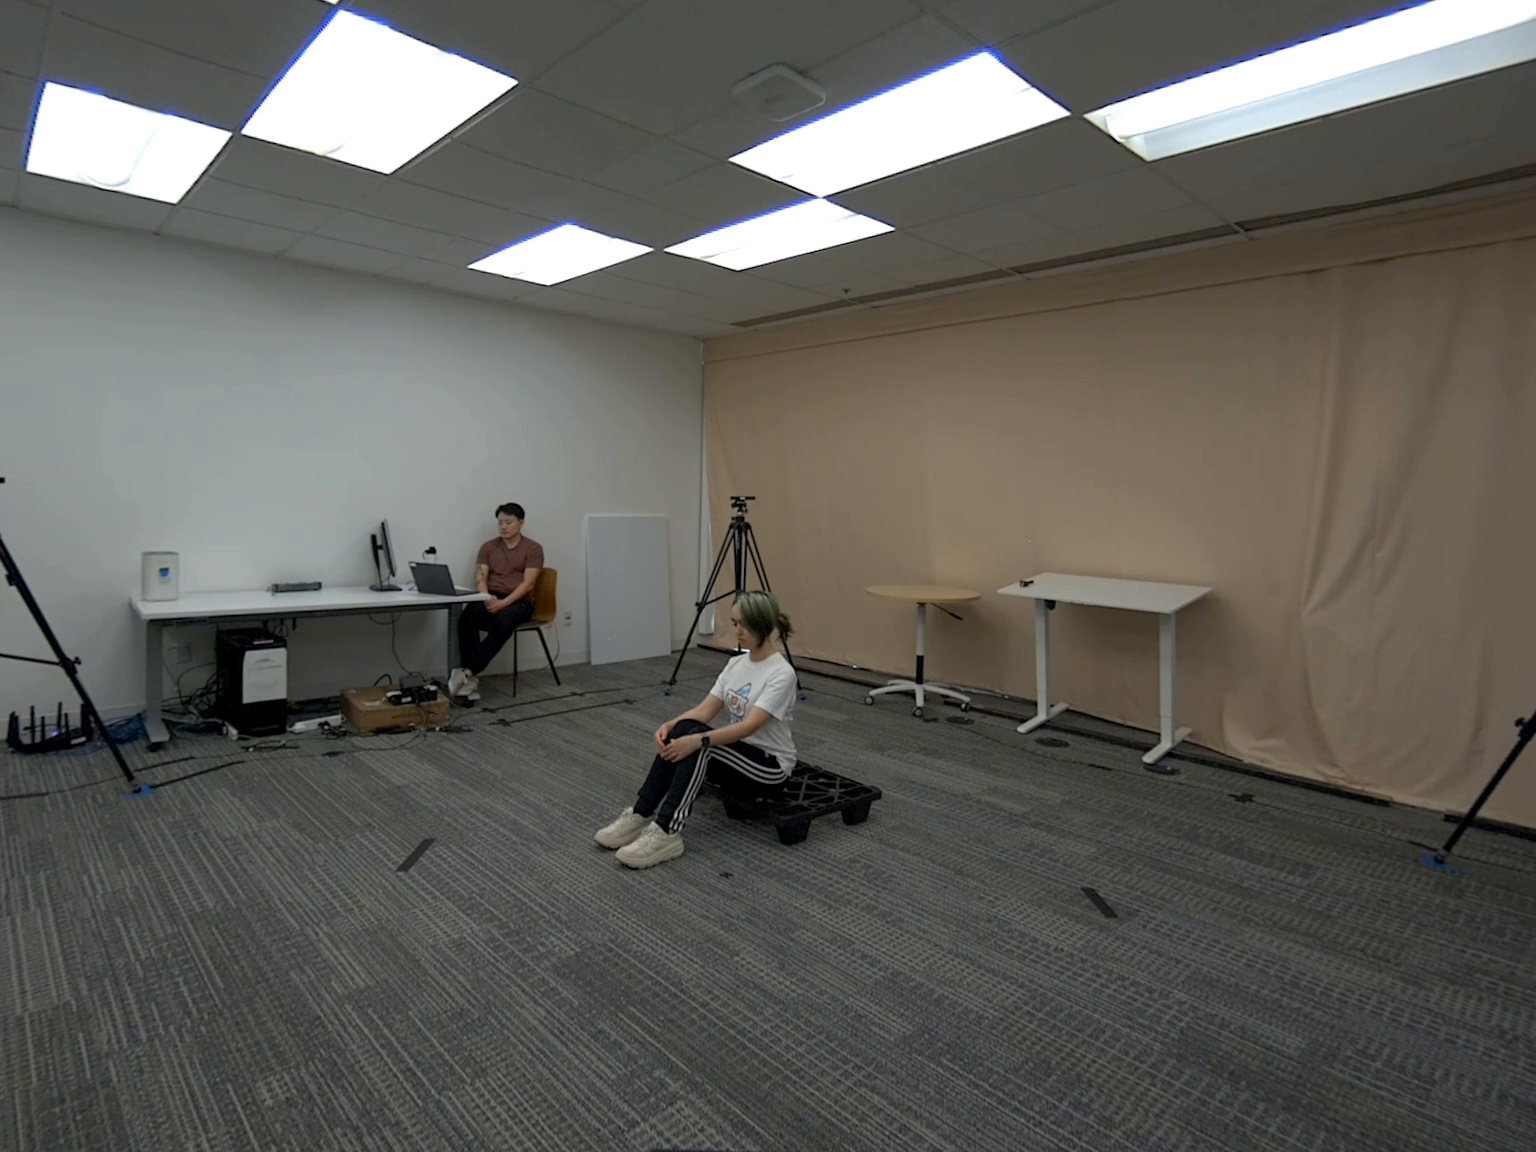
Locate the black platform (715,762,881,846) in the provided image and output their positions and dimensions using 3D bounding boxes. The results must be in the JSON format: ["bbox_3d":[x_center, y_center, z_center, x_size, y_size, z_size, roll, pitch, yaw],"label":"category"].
[{"bbox_3d":[0.009,0.980,3.803,0.591,0.143,0.826,-3,6,-40],"label":"black platform"}]
